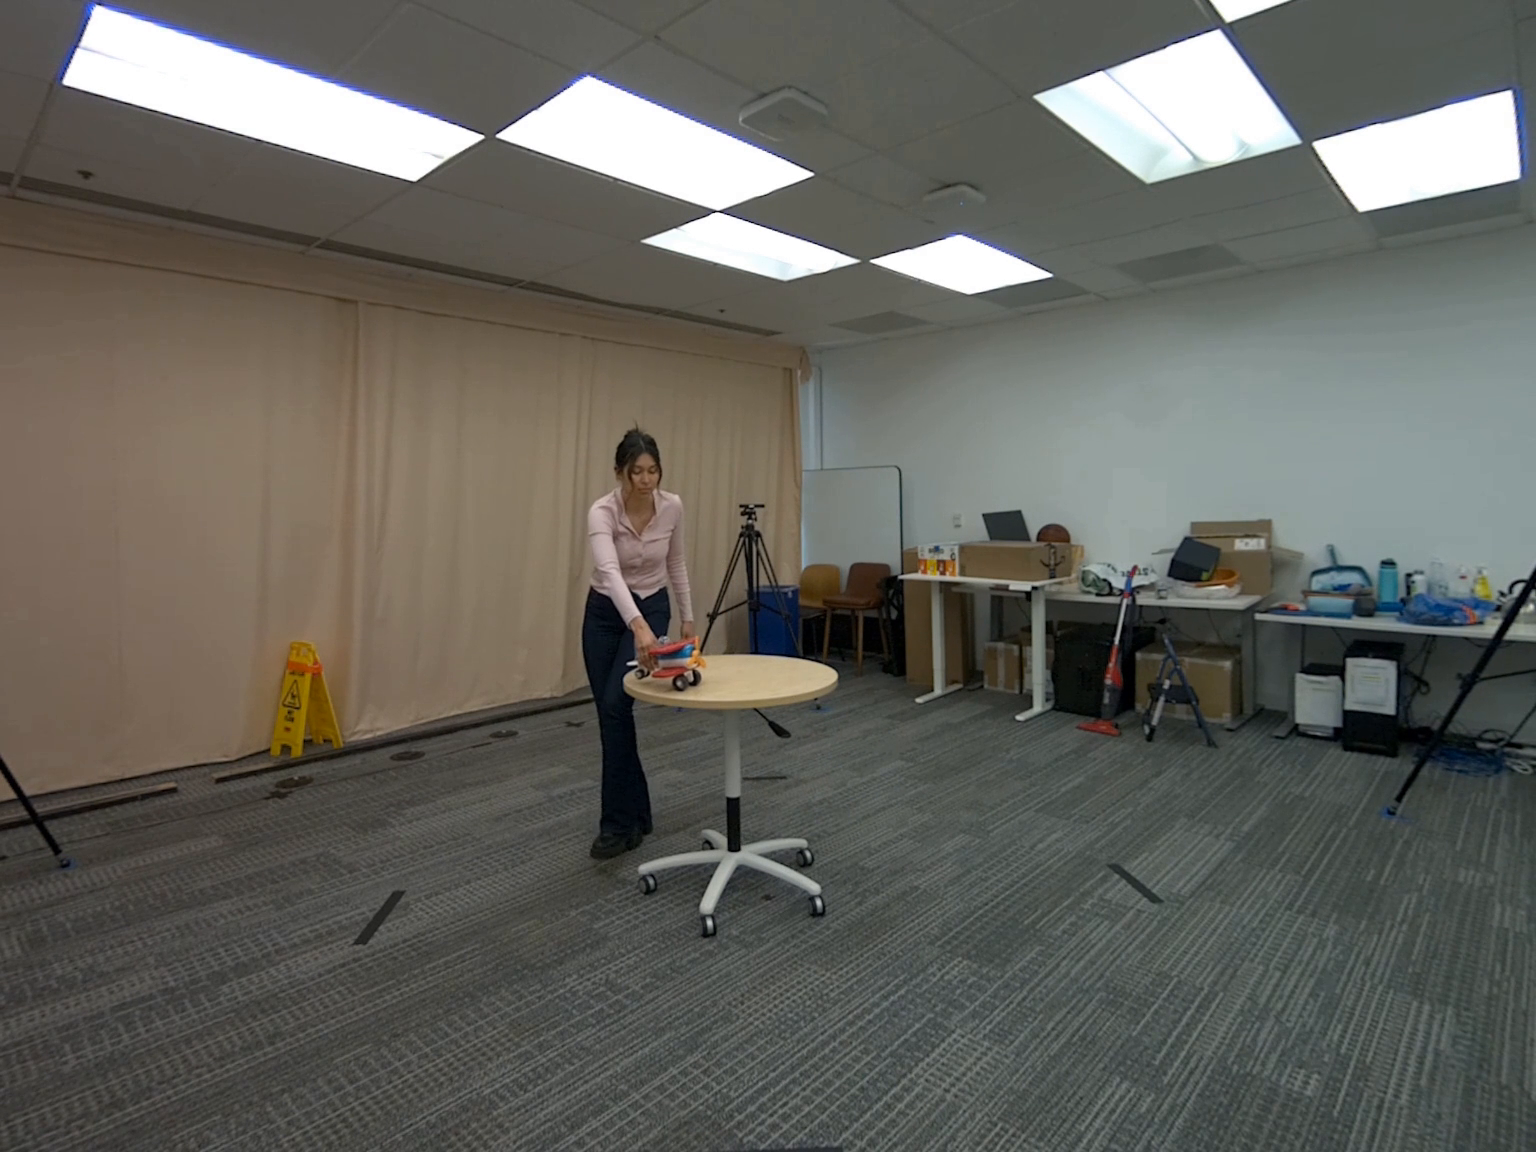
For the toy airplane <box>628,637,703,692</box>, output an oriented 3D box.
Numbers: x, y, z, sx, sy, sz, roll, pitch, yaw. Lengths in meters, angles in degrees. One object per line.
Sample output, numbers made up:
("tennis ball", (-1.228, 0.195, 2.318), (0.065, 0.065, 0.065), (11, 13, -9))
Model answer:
("toy airplane", (-0.344, 0.291, 2.845), (0.259, 0.156, 0.252), (5, 7, -2))
